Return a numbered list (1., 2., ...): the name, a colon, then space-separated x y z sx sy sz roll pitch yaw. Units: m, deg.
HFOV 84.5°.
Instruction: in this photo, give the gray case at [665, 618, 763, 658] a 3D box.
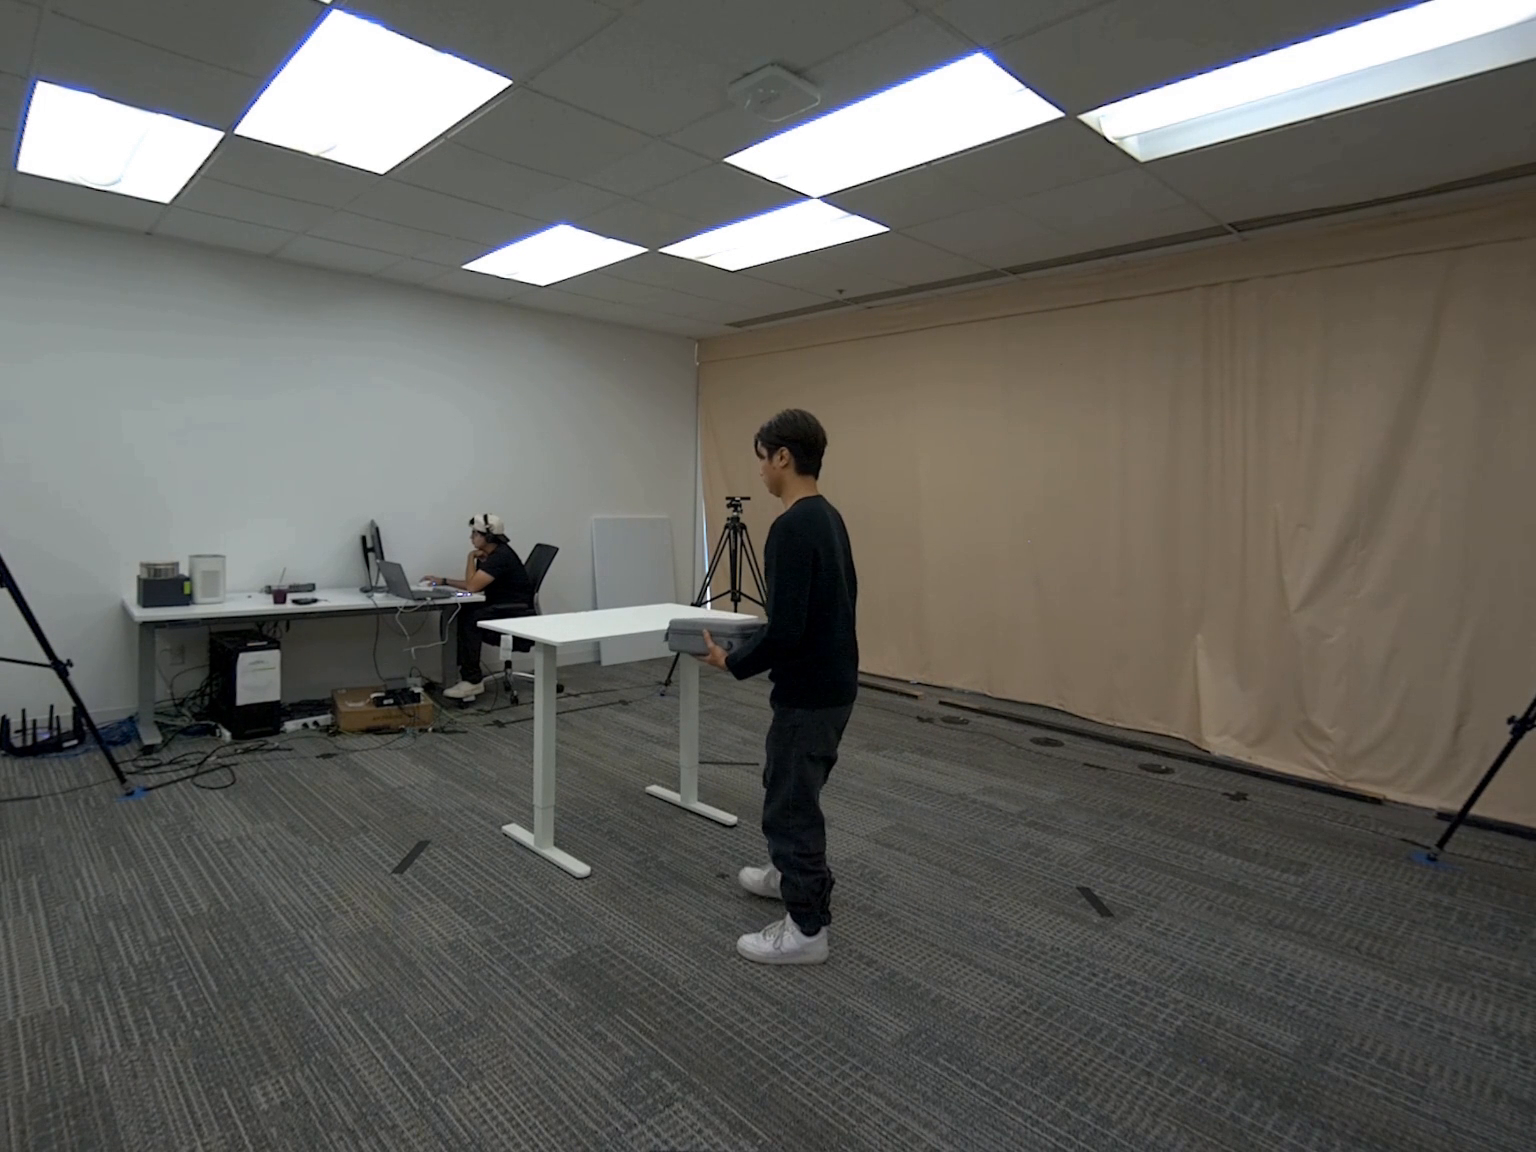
1. gray case: -0.156 0.186 2.628 0.262 0.104 0.255 1 -1 26
